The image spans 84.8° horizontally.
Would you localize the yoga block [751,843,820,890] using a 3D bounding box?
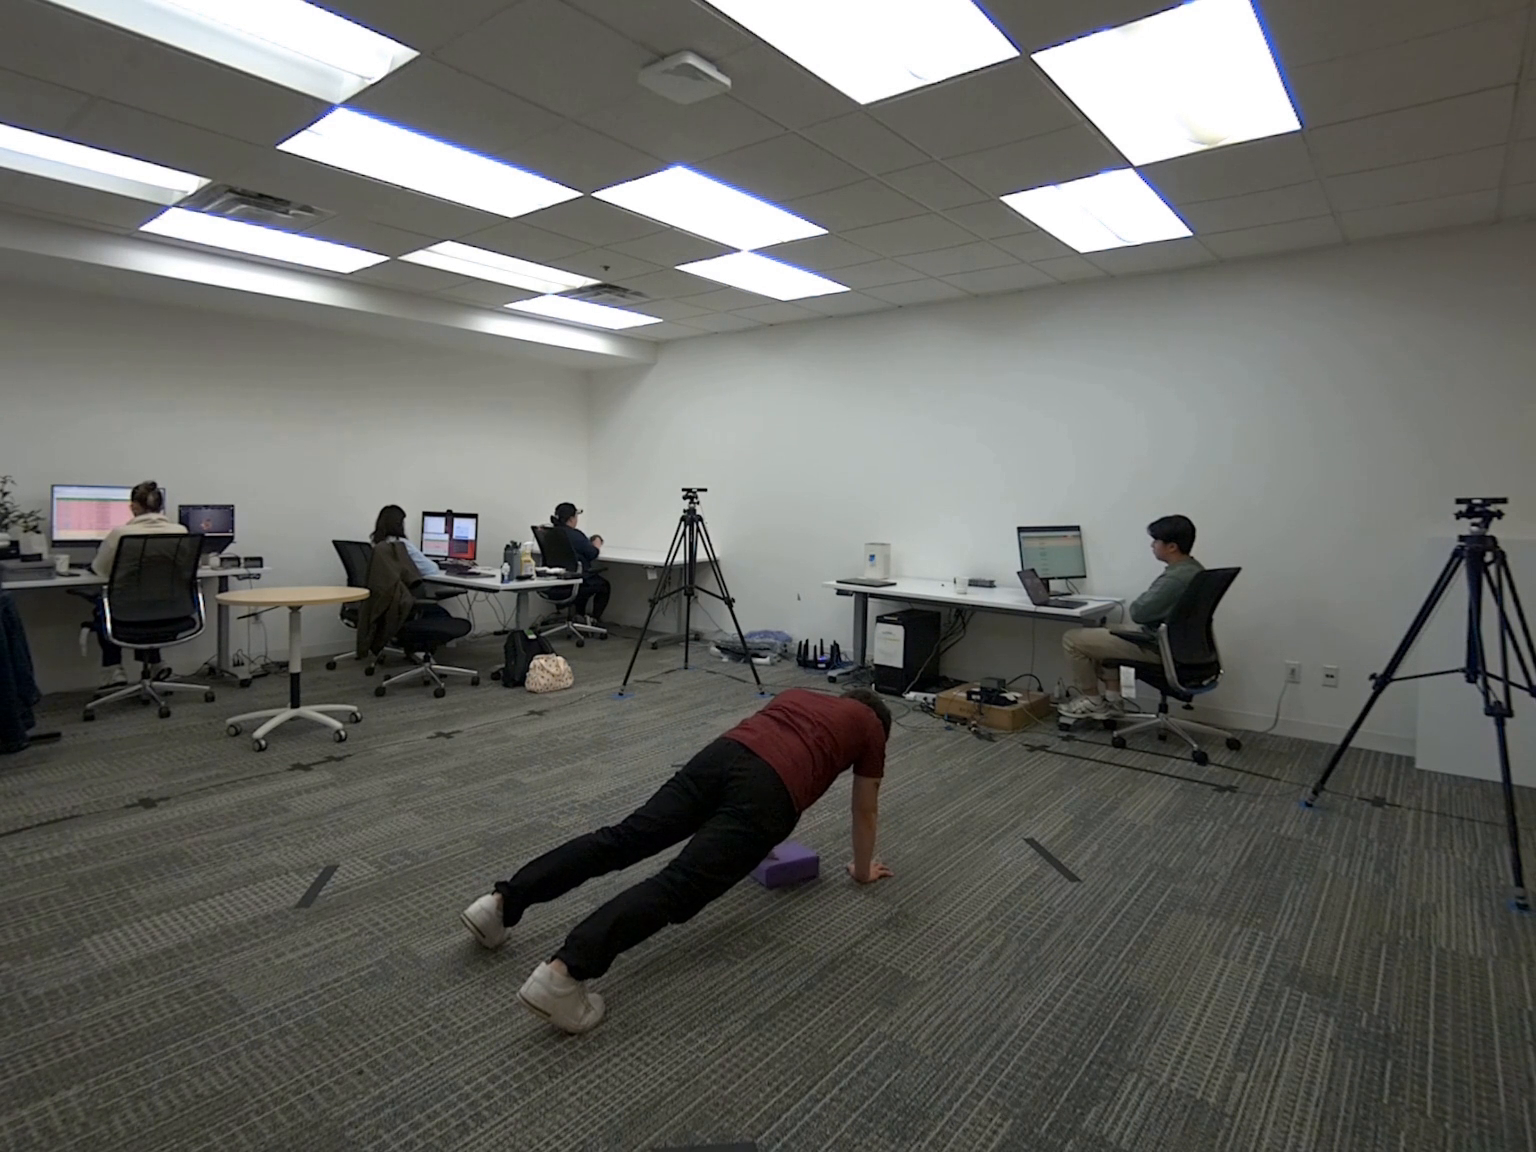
[{"bbox_3d":[0.046,1.036,3.073,0.223,0.076,0.153,-3,6,-30],"label":"yoga block"}]
